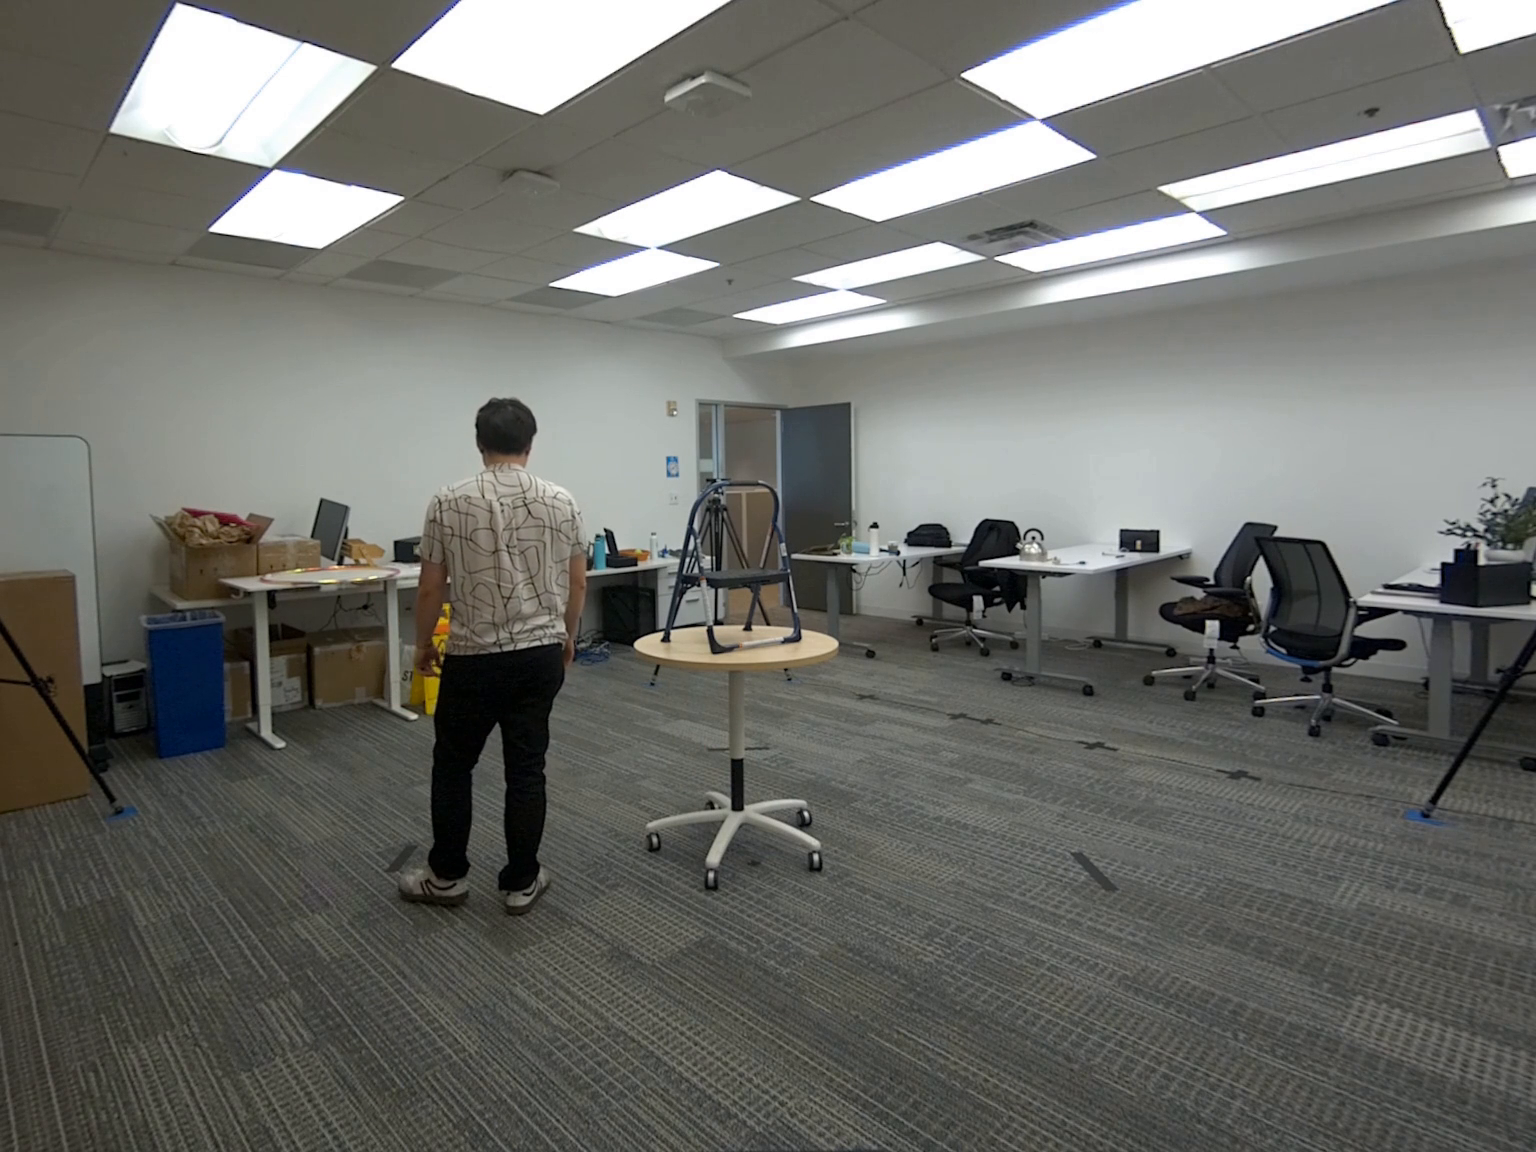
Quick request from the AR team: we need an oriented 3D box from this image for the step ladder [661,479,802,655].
[{"bbox_3d":[-0.144,-0.054,3.217,0.419,0.604,0.360,-4,5,-39],"label":"step ladder"}]
